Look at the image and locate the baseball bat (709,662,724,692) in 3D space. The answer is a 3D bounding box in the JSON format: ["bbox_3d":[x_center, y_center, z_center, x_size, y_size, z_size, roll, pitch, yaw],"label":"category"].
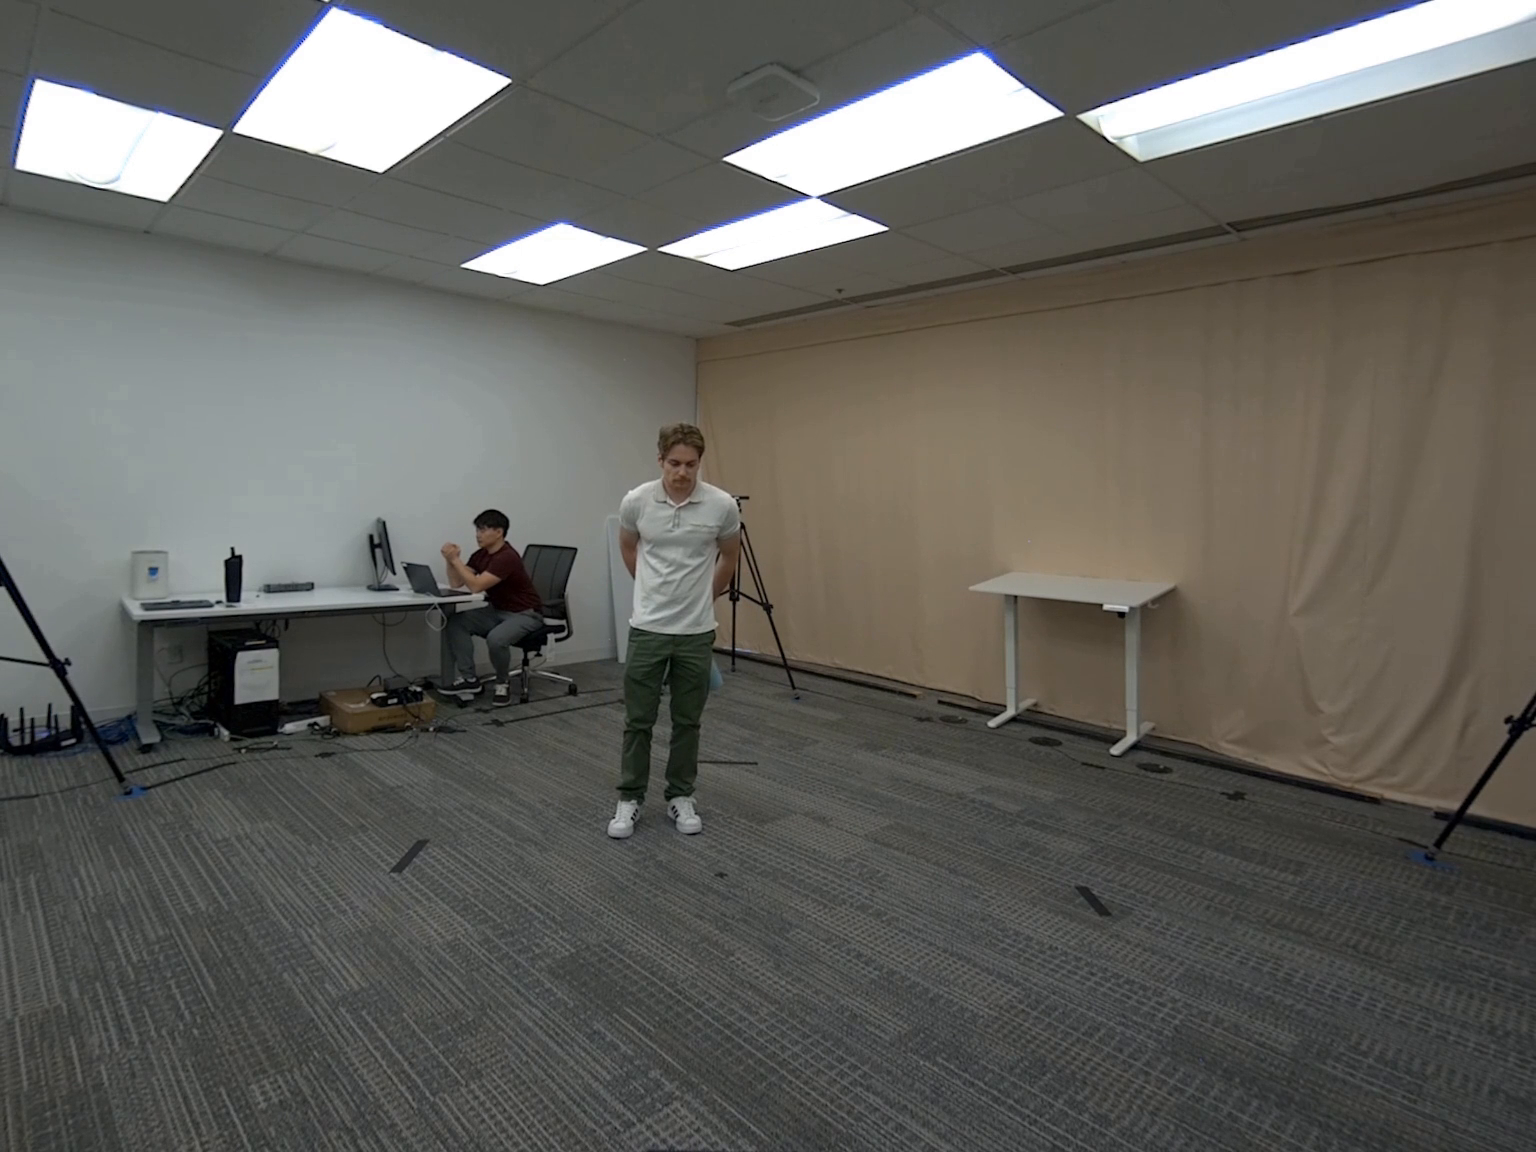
[{"bbox_3d":[-0.340,0.286,3.809,0.089,0.534,0.090,-17,18,5],"label":"baseball bat"}]
